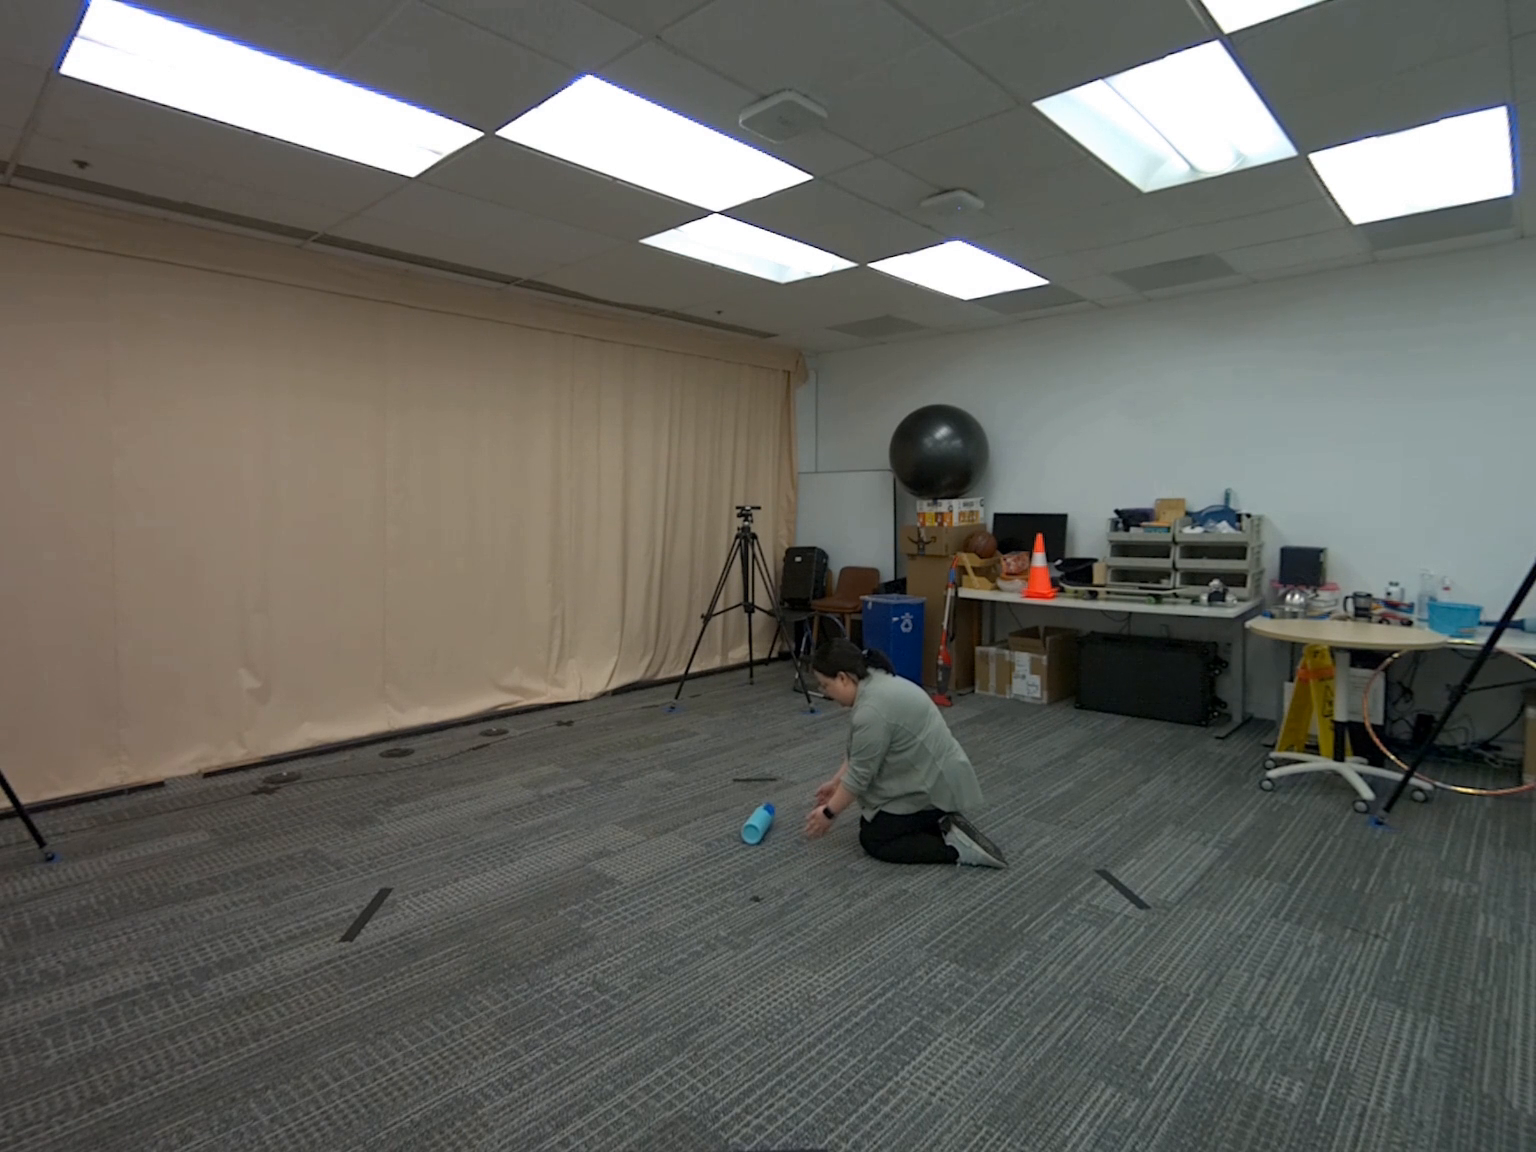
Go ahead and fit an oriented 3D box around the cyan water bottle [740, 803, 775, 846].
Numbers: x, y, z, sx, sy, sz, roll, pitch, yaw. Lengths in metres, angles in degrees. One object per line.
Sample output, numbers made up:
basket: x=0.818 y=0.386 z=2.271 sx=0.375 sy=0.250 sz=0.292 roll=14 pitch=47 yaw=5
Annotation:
cyan water bottle: x=-0.032 y=1.050 z=3.593 sx=0.094 sy=0.092 sz=0.279 roll=1 pitch=5 yaw=15
